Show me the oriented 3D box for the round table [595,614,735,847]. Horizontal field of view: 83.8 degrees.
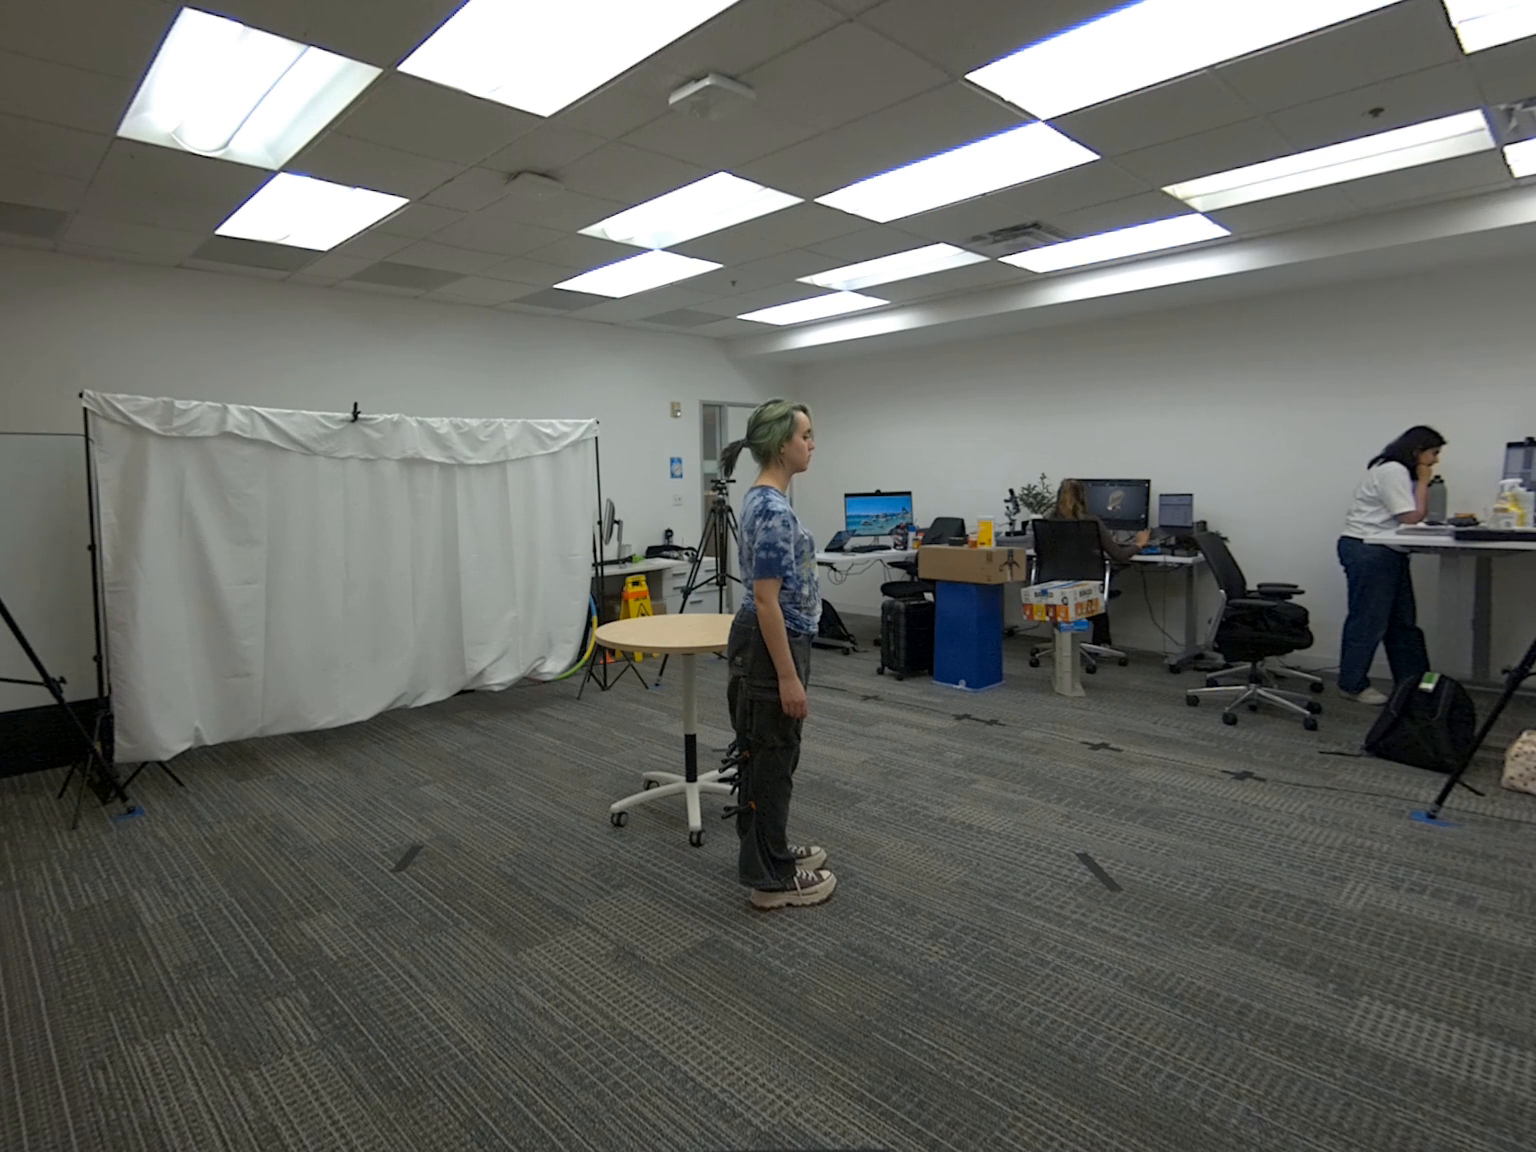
[{"bbox_3d":[-0.322,0.611,3.563,0.763,0.791,0.768,-2,5,-2],"label":"round table"}]
